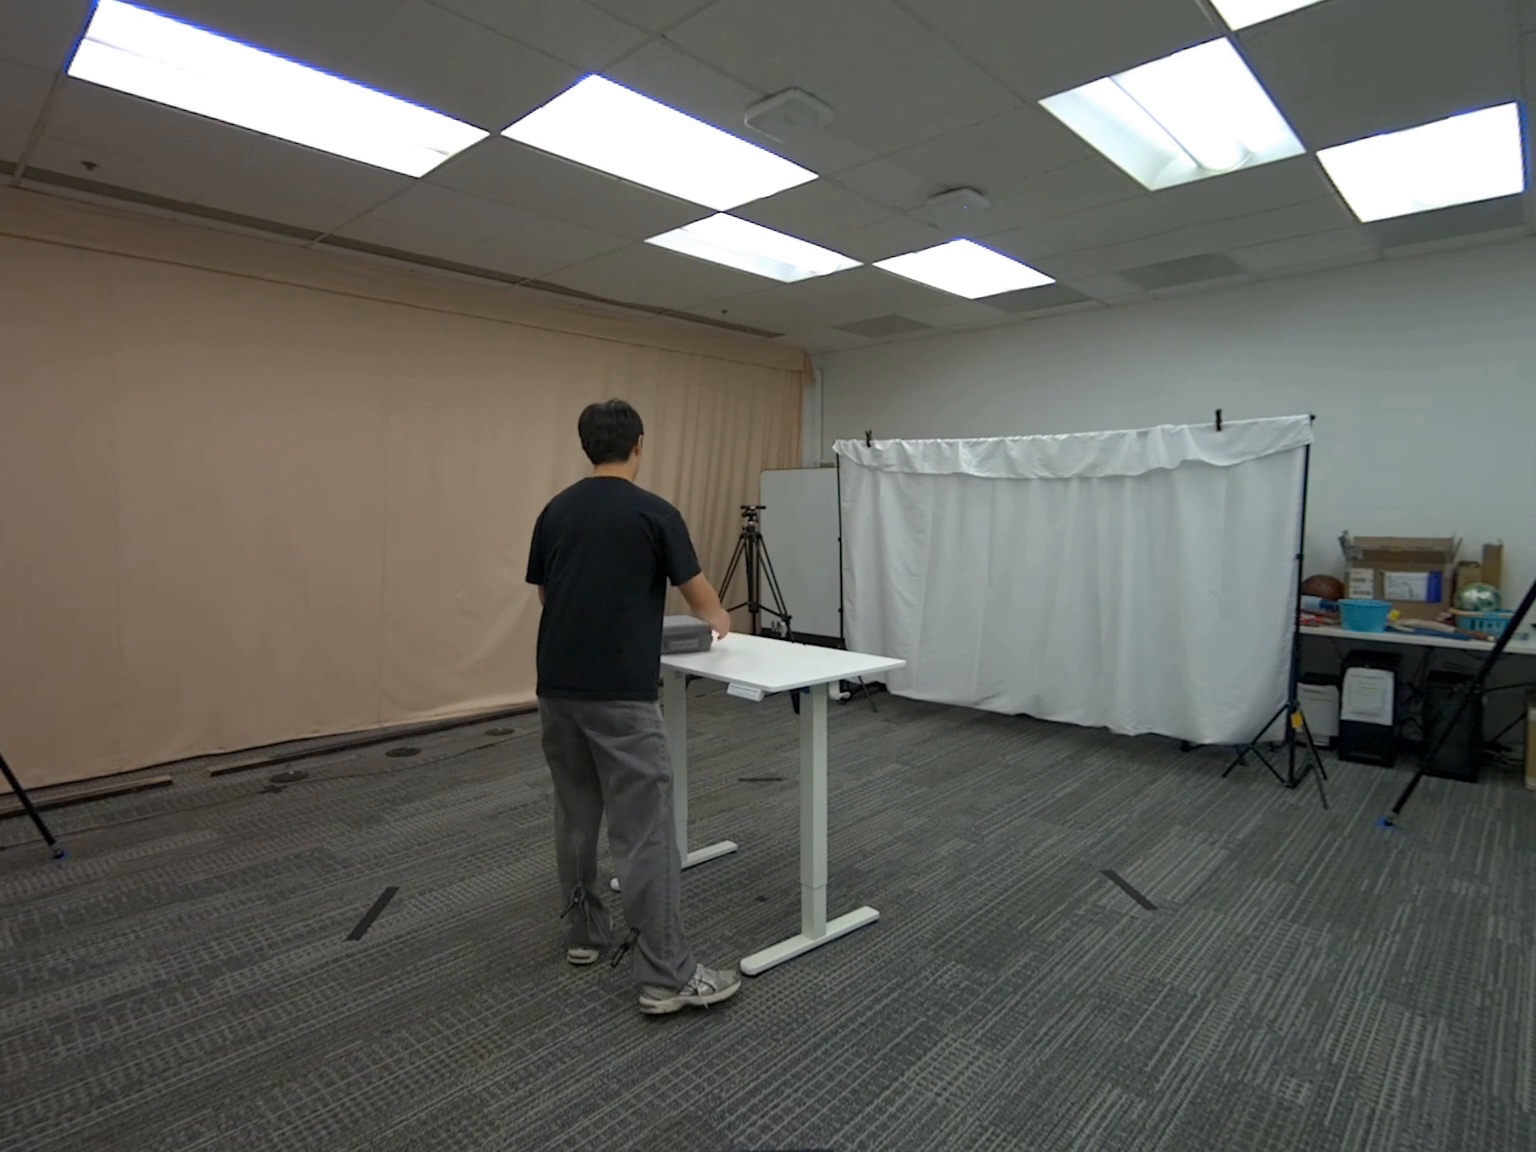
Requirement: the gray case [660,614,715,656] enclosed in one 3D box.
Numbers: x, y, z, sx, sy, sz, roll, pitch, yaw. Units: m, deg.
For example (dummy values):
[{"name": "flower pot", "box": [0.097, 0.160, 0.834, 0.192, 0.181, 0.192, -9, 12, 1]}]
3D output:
[{"name": "gray case", "box": [-0.347, 0.211, 3.017, 0.257, 0.103, 0.295, -3, 6, -25]}]
